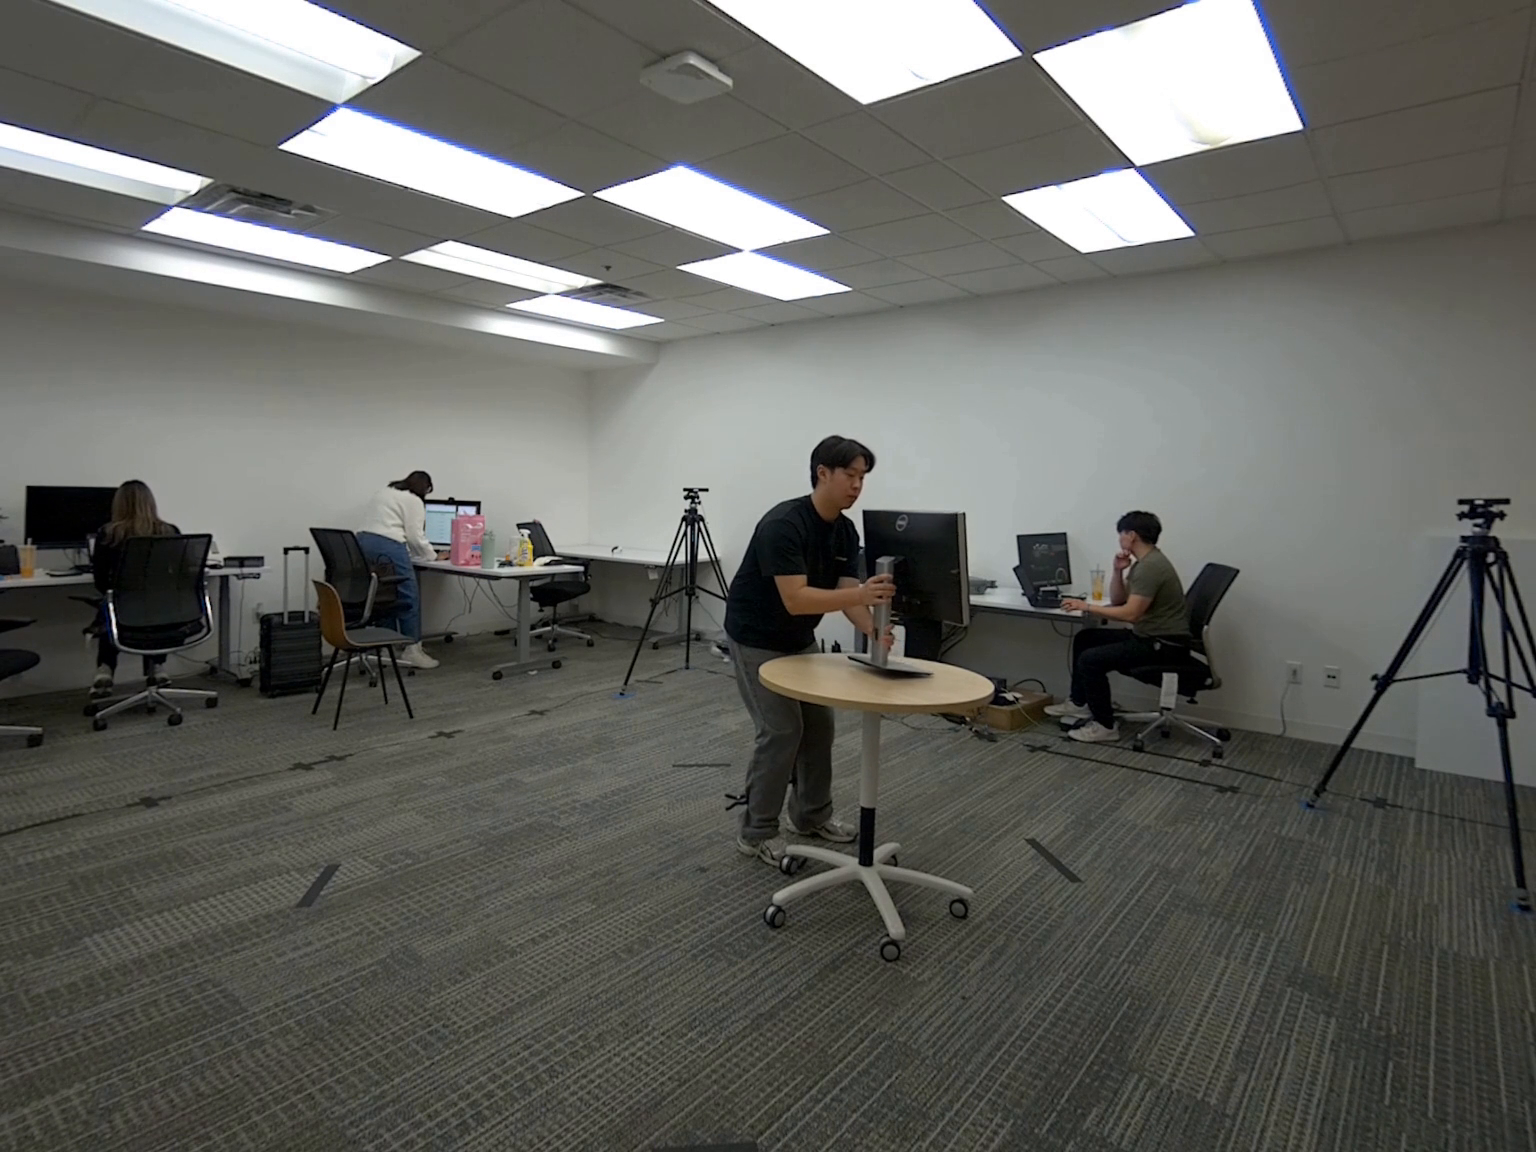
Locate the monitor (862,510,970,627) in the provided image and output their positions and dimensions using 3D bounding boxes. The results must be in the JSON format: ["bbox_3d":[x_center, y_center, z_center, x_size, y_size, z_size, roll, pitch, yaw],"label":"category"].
[{"bbox_3d":[0.451,0.054,2.905,0.217,0.566,0.576,9,0,-24],"label":"monitor"}]
